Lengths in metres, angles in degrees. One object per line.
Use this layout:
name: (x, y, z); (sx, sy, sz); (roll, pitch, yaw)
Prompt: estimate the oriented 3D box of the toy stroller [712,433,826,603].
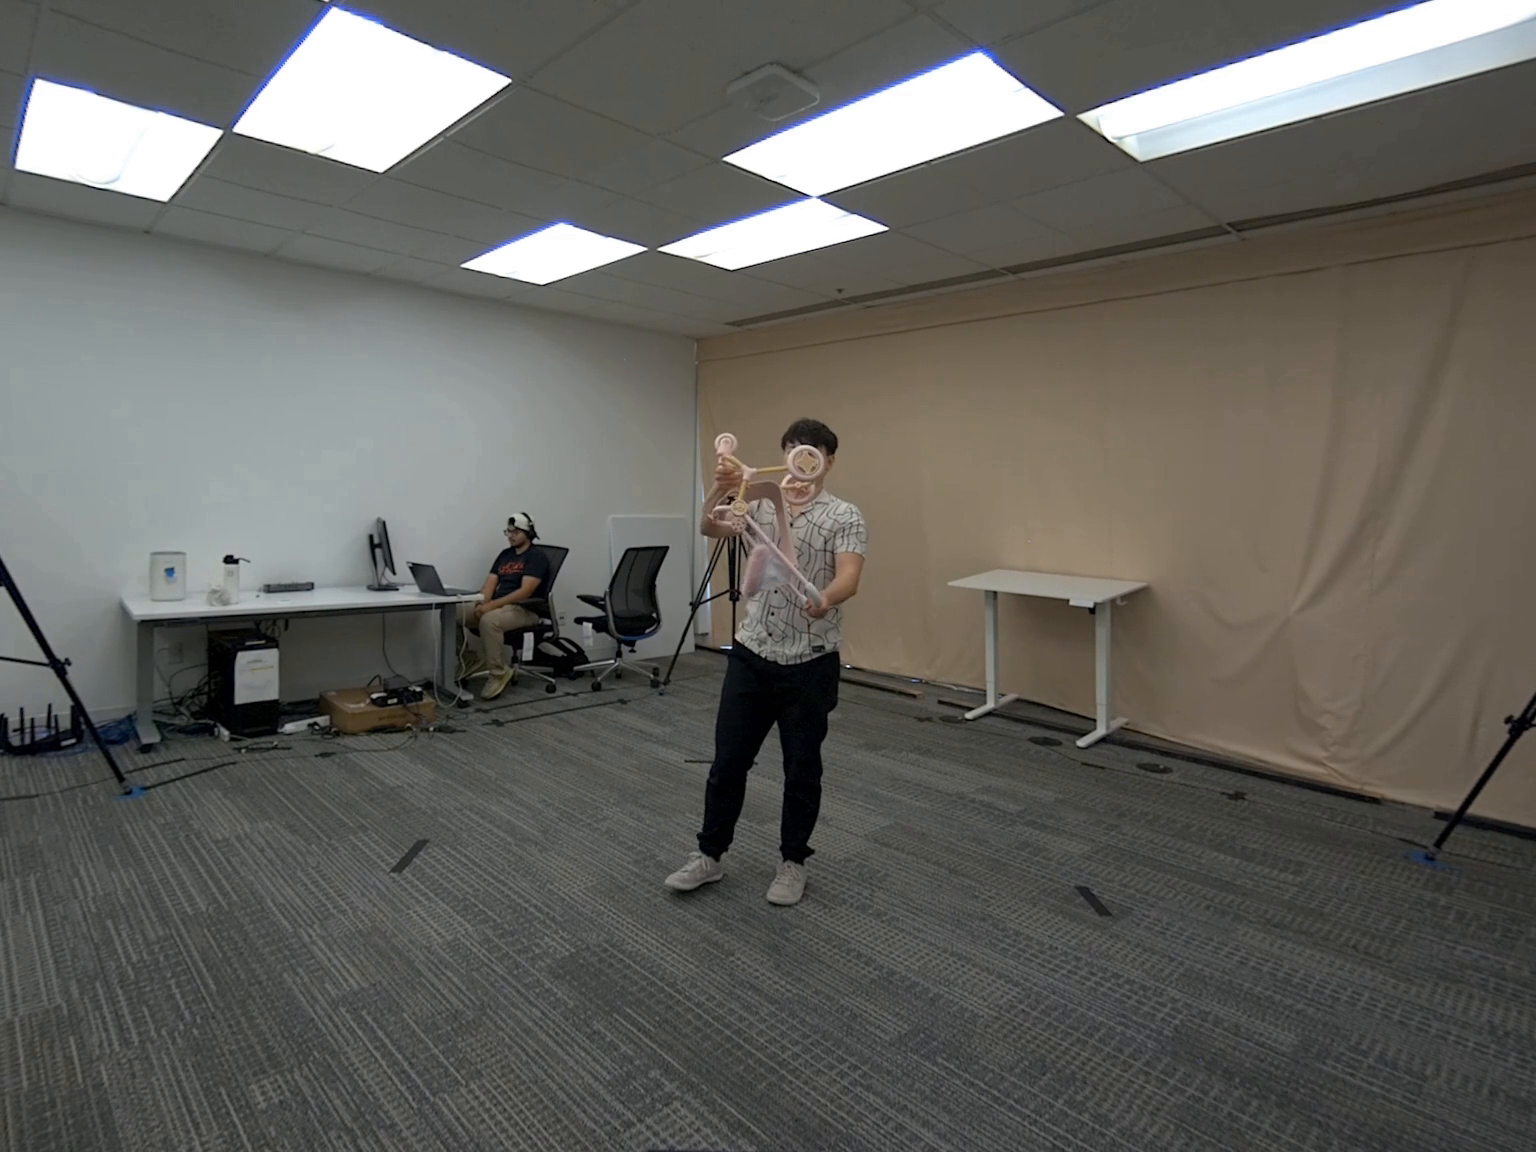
toy stroller: (-0.033, -0.162, 2.532); (0.340, 0.539, 0.280); (5, -12, -5)
